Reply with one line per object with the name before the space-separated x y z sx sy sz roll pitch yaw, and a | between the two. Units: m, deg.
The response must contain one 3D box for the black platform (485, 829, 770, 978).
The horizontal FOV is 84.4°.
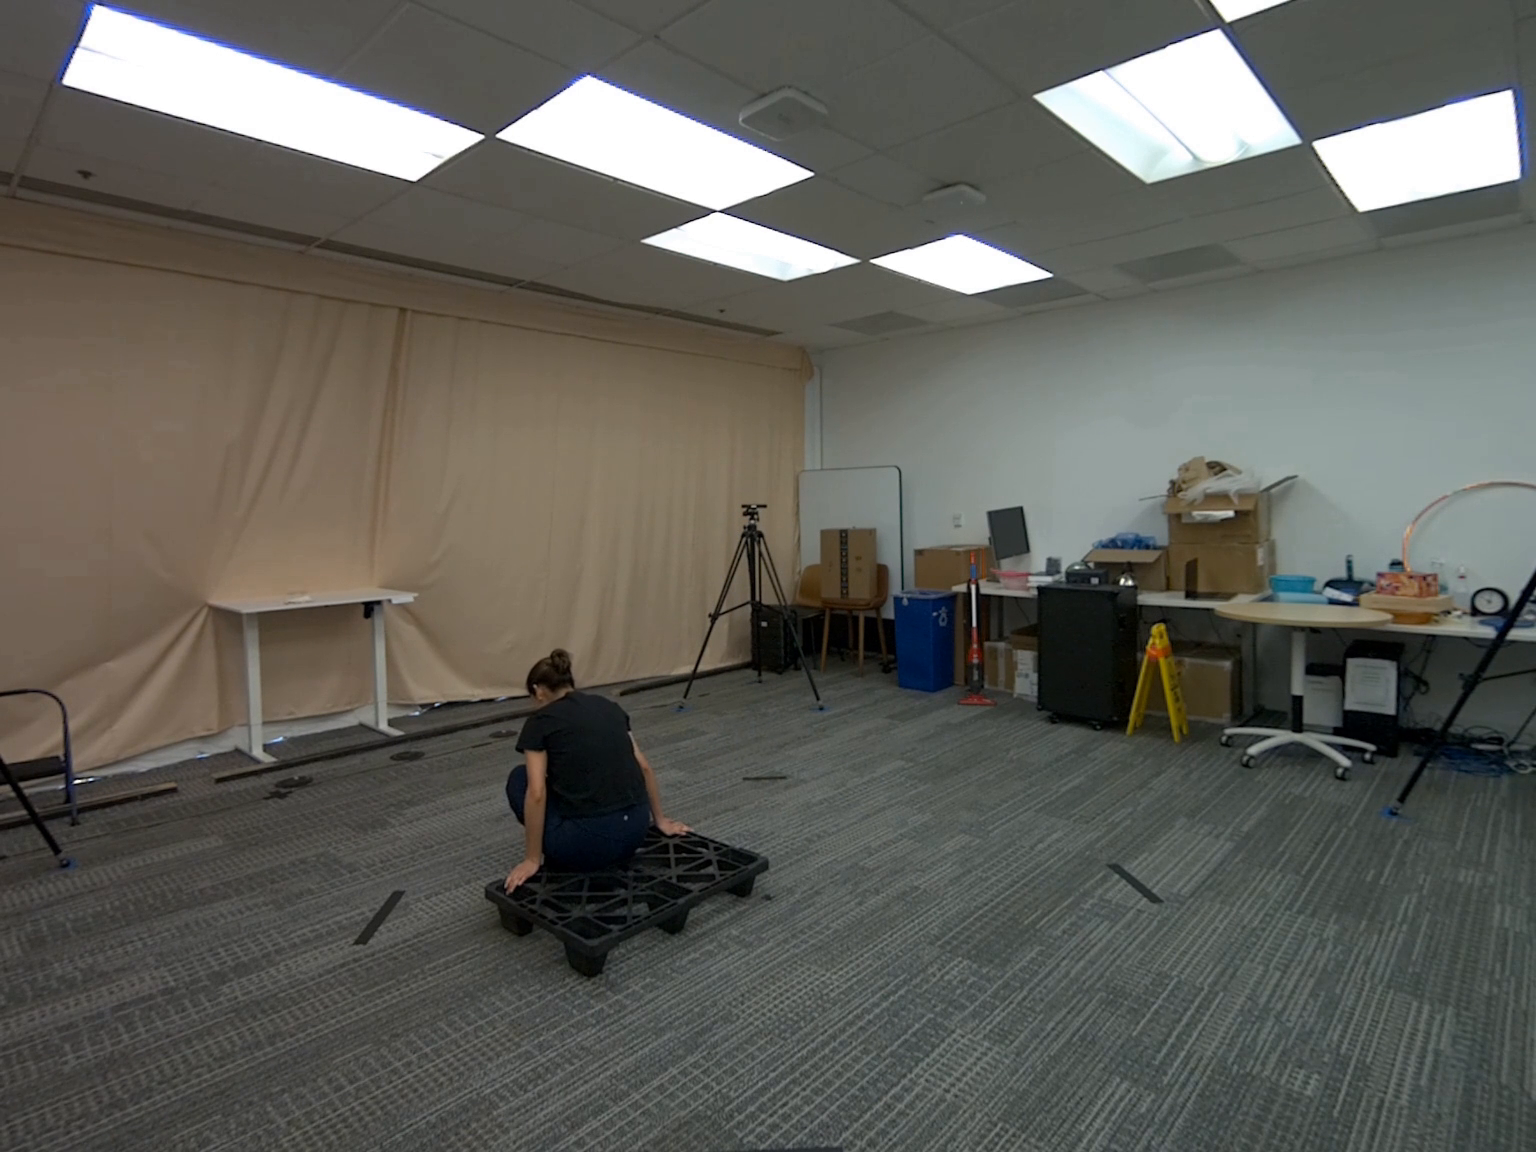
black platform | -0.446 1.089 2.908 0.625 0.143 0.782 4 8 41
